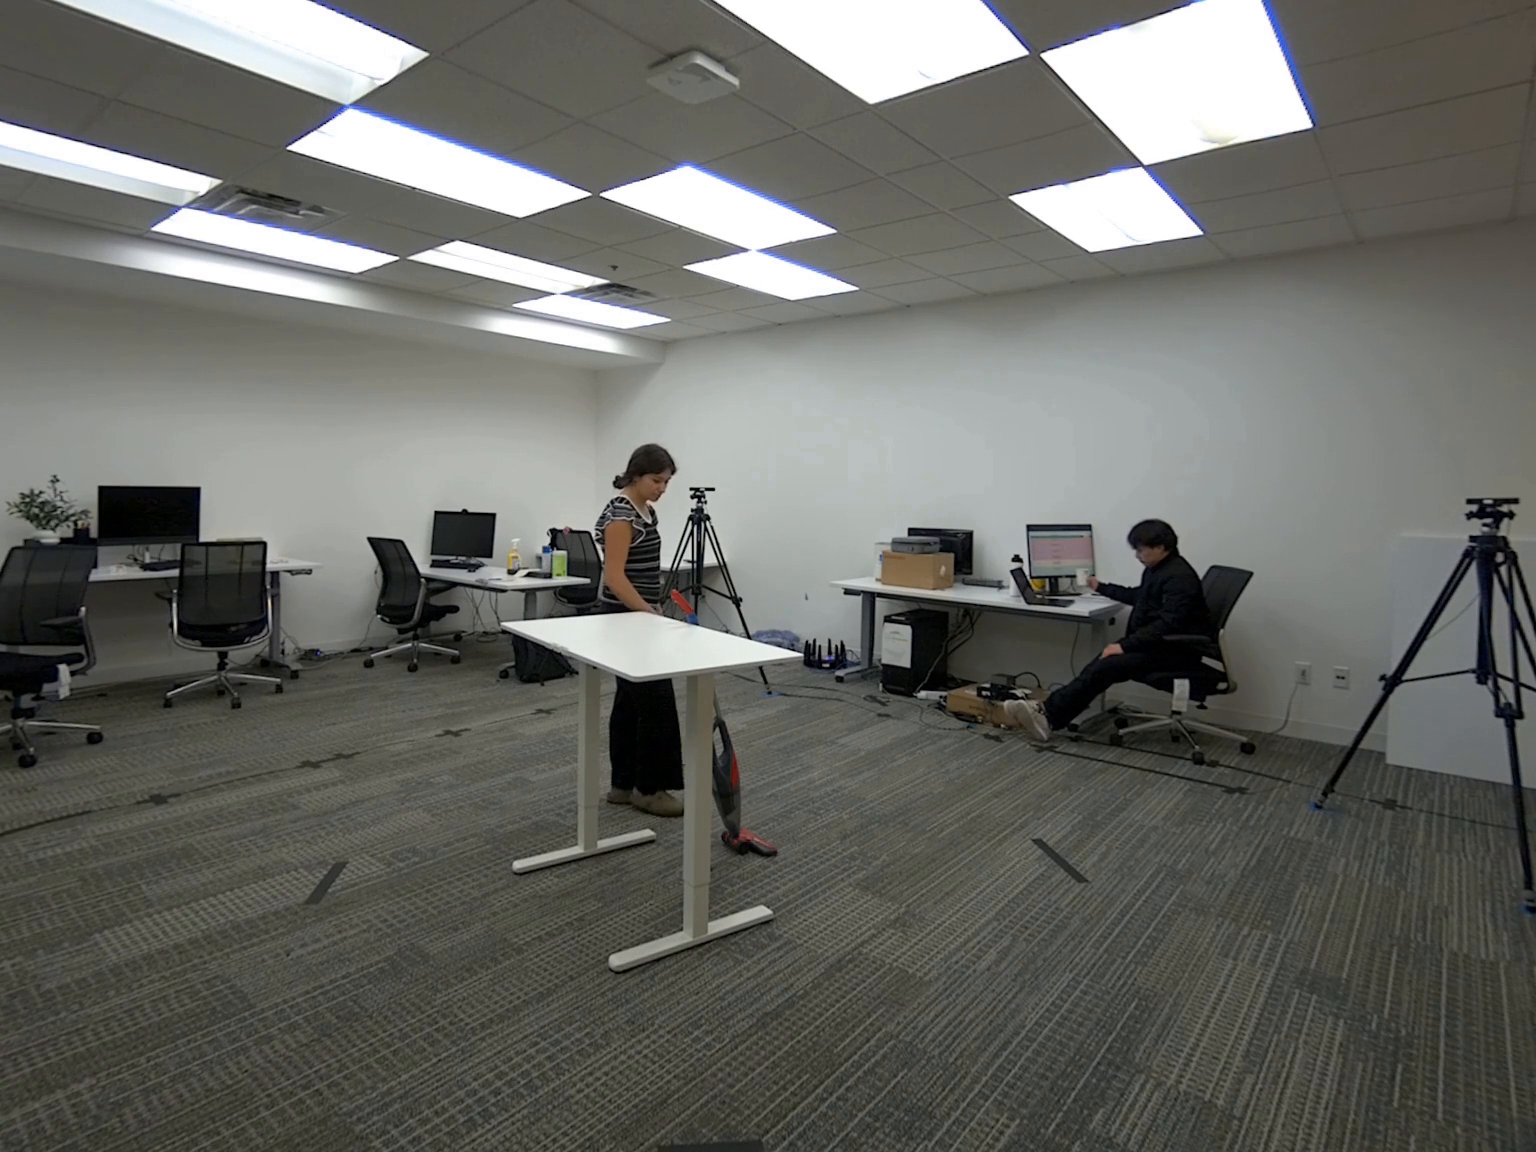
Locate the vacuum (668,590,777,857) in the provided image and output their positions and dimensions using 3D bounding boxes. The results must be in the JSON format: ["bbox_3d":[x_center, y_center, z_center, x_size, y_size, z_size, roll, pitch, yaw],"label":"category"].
[{"bbox_3d":[-0.214,0.562,3.226,0.141,1.037,0.260,-19,11,-28],"label":"vacuum"}]
